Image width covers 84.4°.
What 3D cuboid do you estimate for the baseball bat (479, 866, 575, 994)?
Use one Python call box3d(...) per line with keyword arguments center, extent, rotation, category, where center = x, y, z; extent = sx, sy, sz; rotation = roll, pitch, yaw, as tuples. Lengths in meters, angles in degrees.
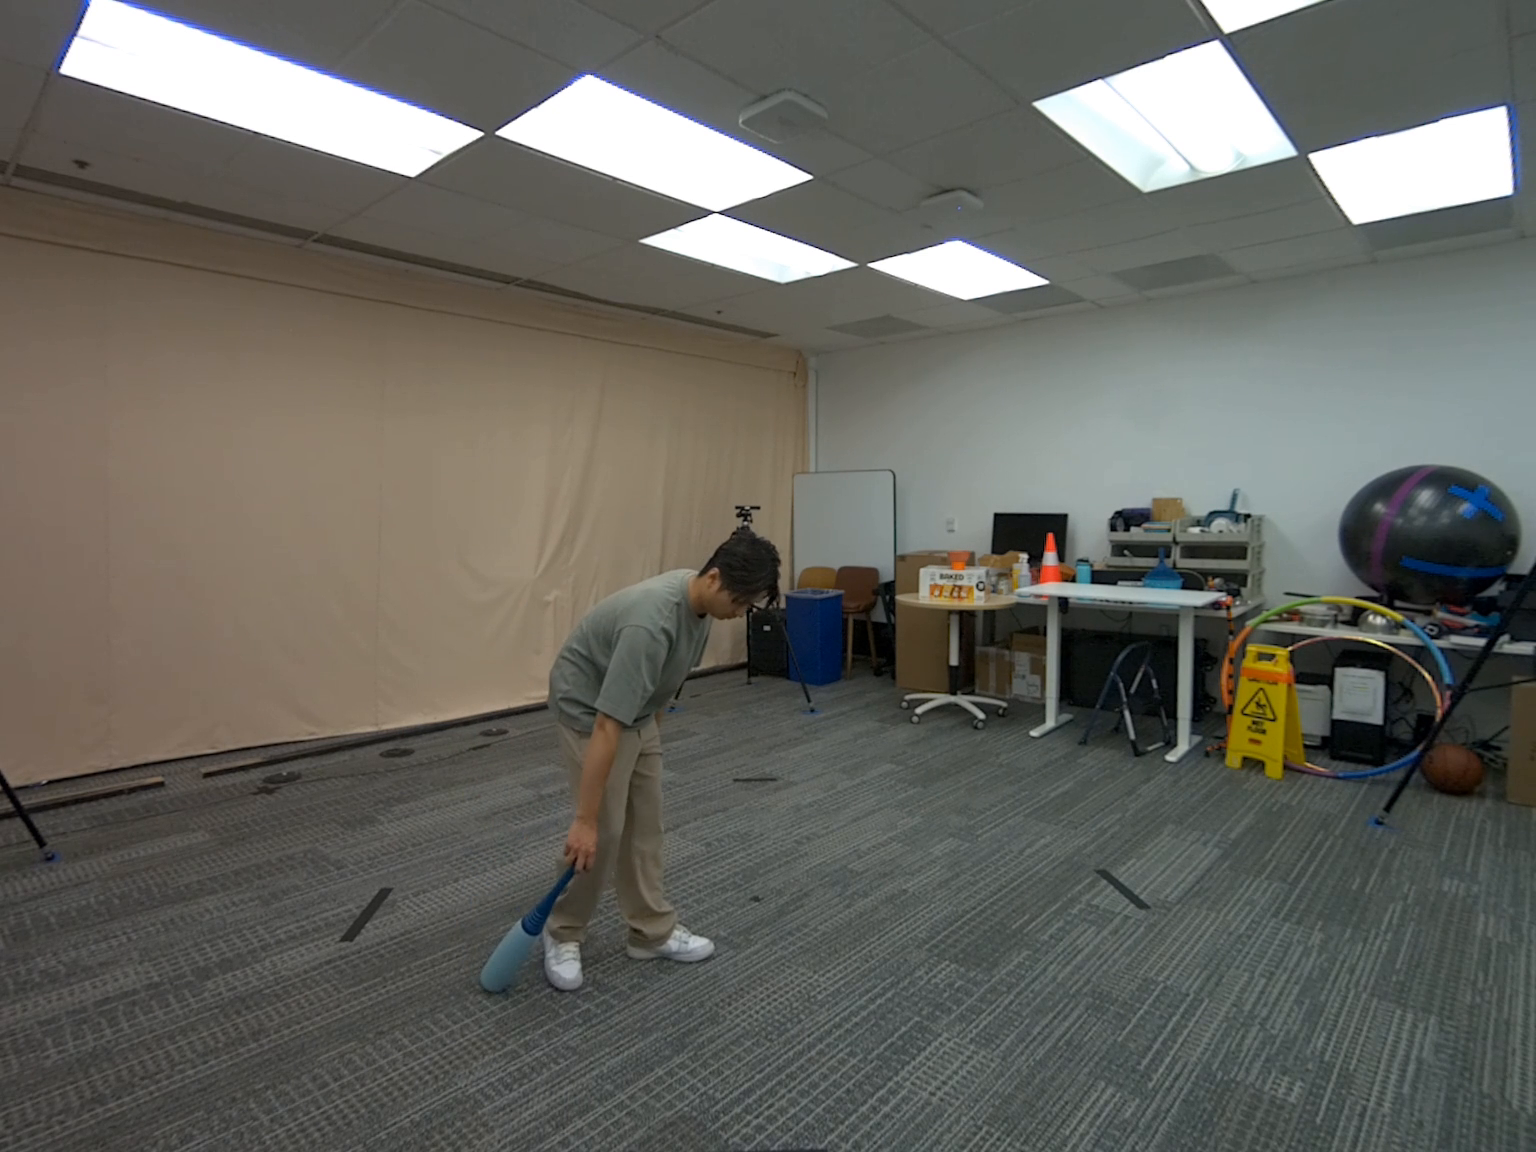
box3d(center=(-0.653, 0.976, 2.343), extent=(0.087, 0.544, 0.090), rotation=(30, 22, -15), category="baseball bat")
